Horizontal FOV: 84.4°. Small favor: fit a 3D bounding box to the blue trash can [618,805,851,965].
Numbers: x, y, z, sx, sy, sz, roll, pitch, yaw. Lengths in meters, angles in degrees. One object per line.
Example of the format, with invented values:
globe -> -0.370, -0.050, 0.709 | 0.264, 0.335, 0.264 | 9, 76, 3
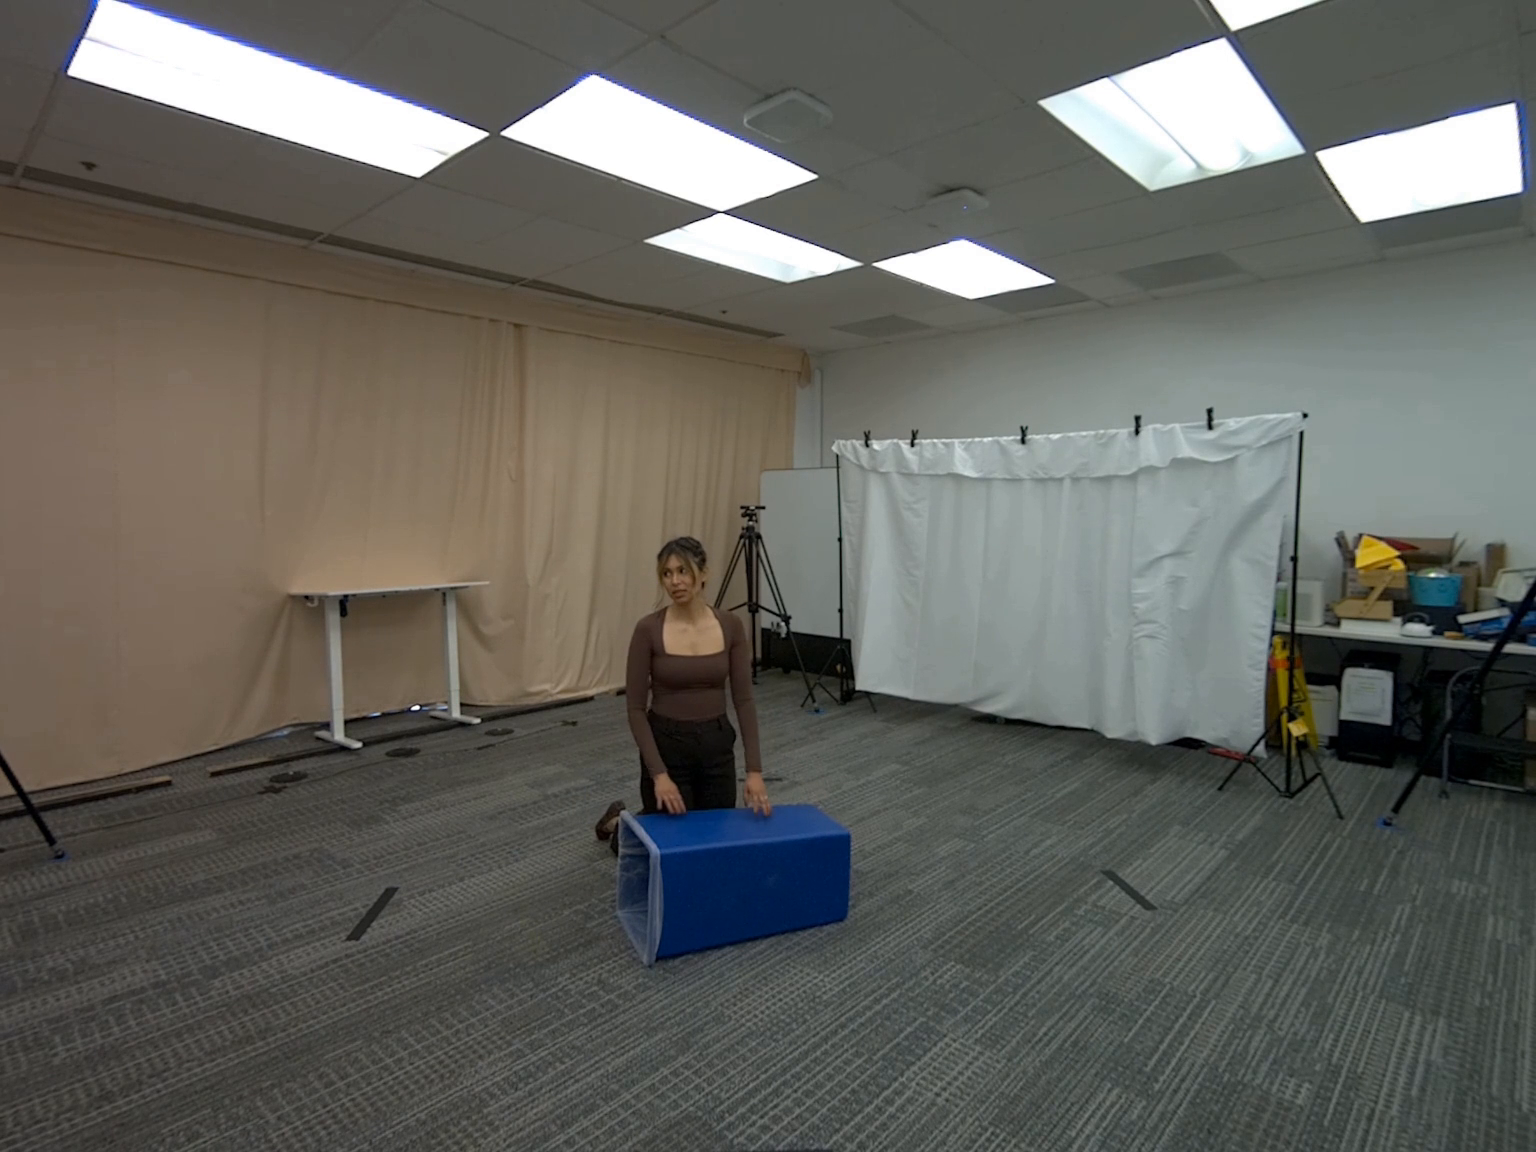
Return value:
blue trash can -> -0.107, 0.984, 2.817 | 0.698, 0.377, 0.383 | 0, 2, -22
